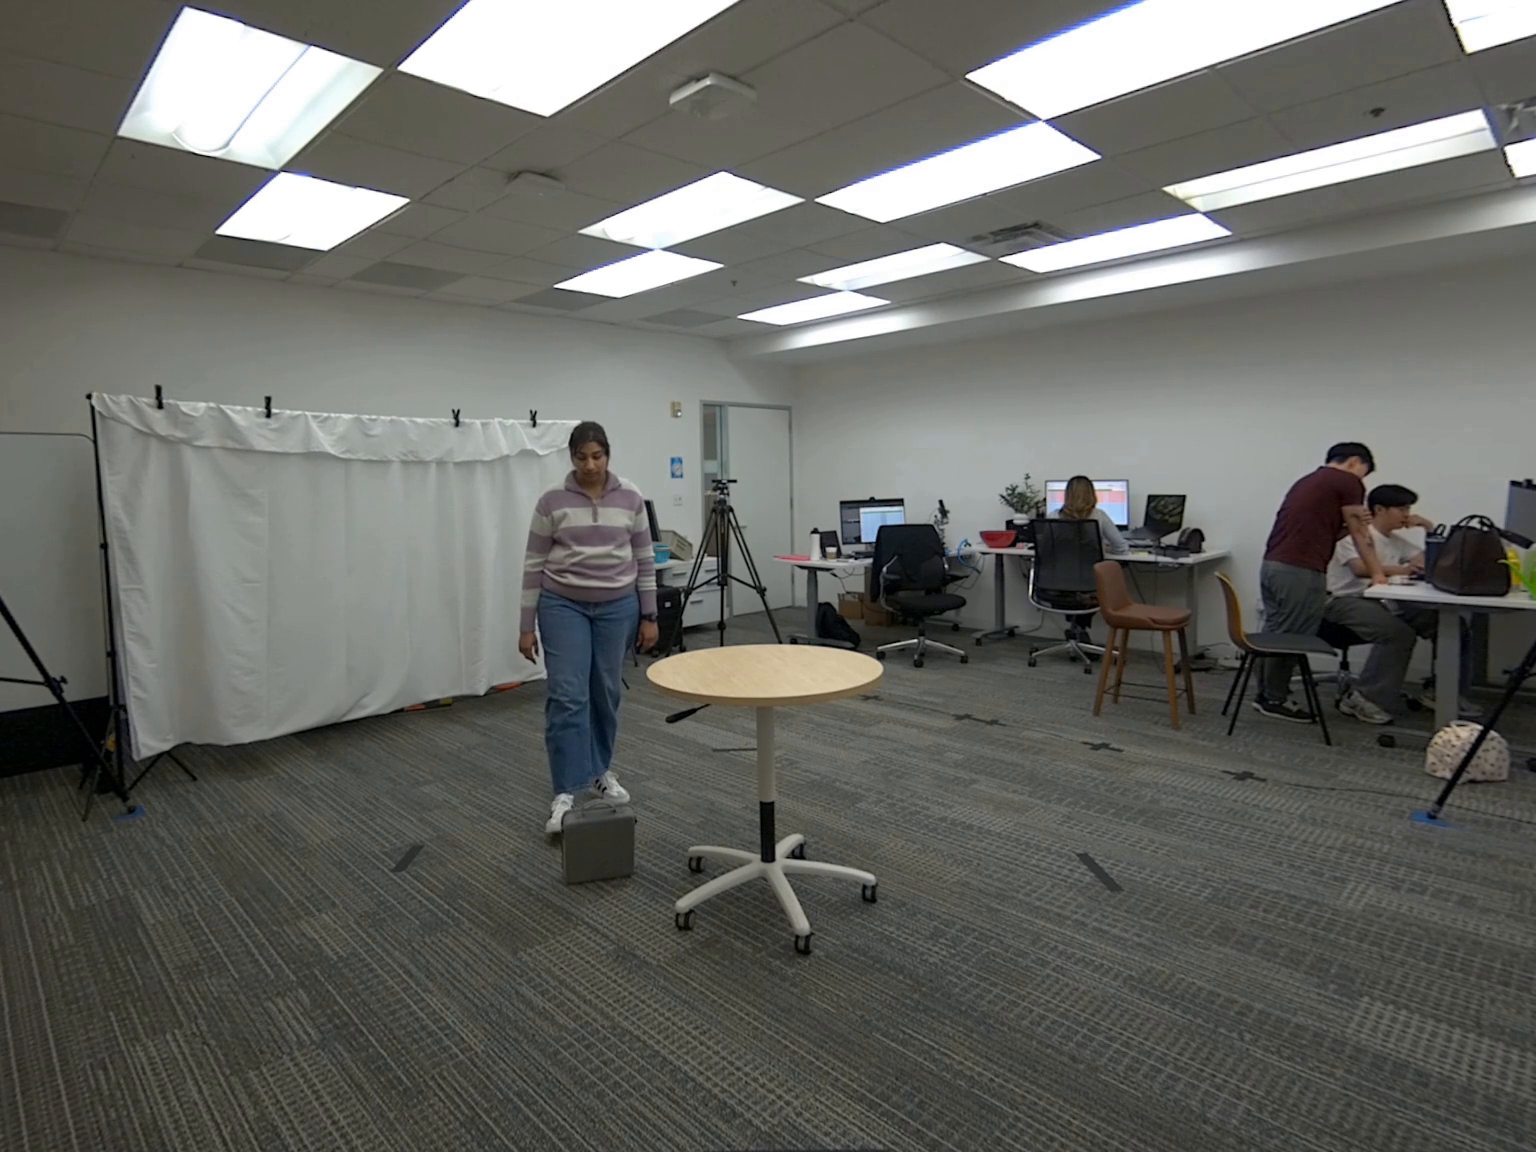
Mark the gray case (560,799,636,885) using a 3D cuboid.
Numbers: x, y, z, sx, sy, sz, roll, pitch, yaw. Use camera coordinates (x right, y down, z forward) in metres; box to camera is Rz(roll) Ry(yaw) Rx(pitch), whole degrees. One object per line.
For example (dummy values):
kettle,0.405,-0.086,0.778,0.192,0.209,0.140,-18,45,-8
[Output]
gray case,-0.592,0.931,3.015,0.253,0.258,0.107,-2,12,-16
